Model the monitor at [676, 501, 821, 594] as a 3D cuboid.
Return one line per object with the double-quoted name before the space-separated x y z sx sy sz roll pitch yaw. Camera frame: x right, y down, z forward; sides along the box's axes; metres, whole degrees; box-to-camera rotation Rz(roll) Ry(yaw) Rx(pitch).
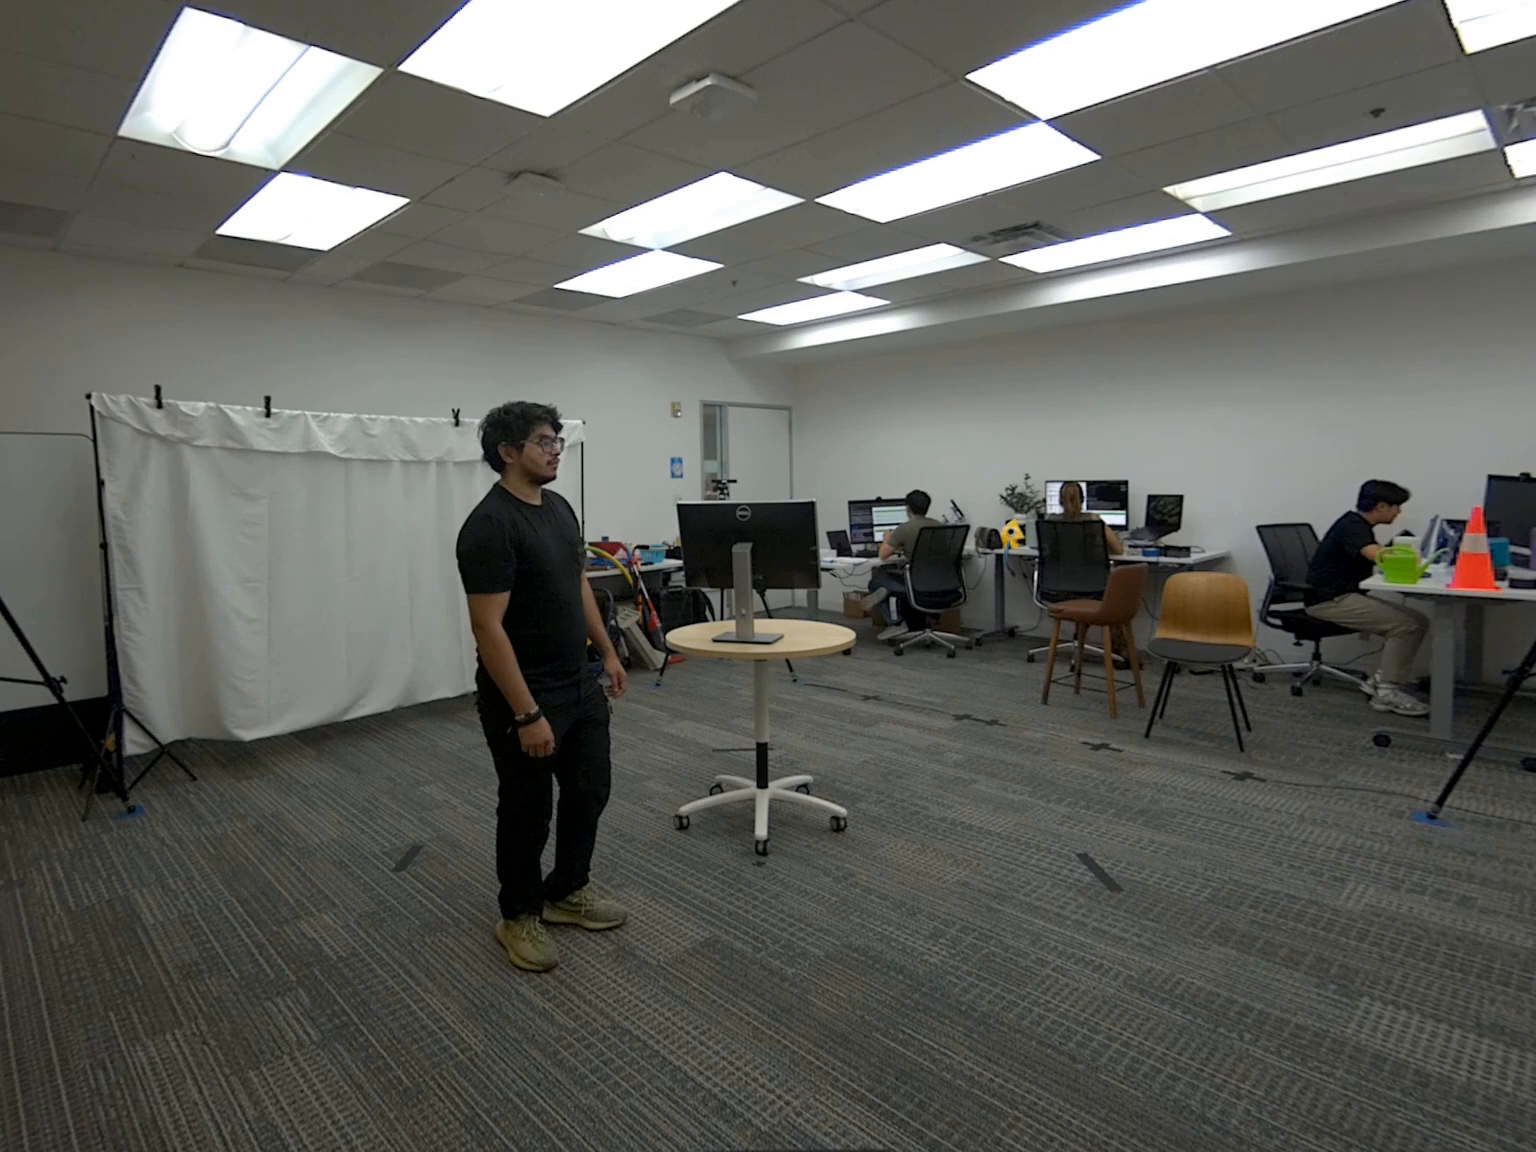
"monitor" -0.092 -0.015 3.313 0.574 0.549 0.209 1 10 16
